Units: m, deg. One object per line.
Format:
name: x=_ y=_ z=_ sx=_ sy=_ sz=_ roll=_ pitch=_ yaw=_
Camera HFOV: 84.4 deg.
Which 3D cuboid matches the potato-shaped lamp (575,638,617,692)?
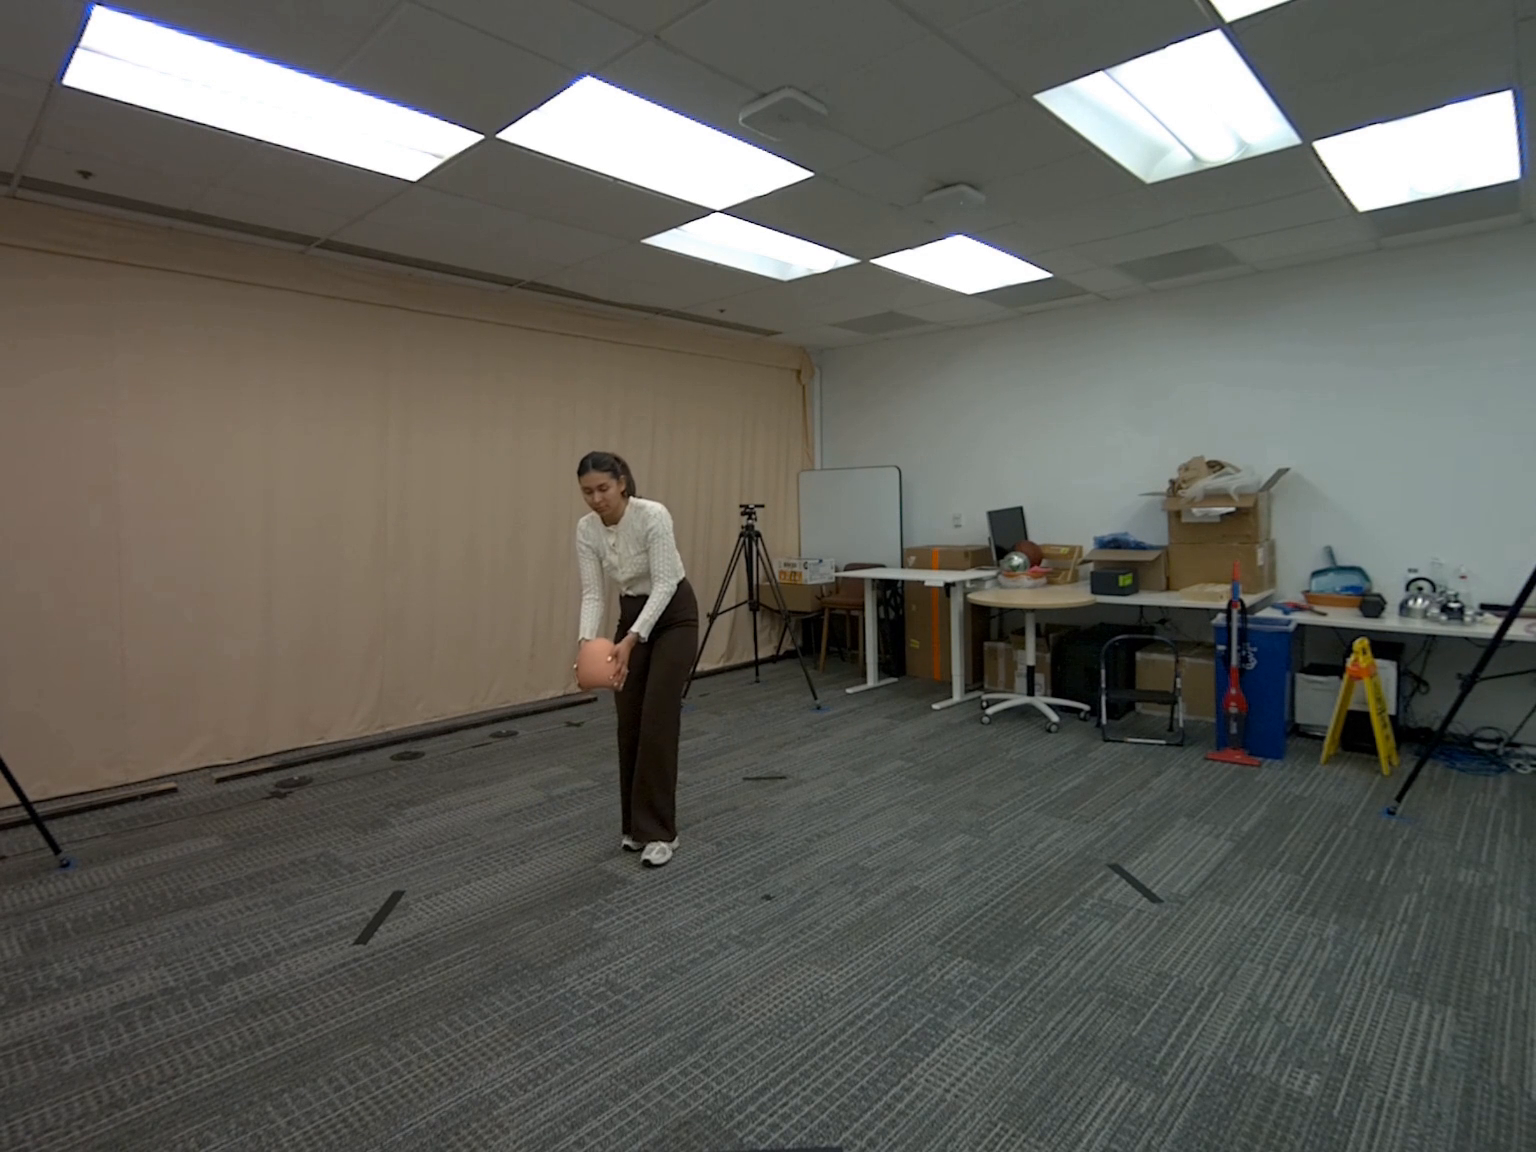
potato-shaped lamp: x=-0.625 y=0.337 z=3.159 sx=0.167 sy=0.200 sz=0.168 roll=0 pitch=-18 yaw=10
